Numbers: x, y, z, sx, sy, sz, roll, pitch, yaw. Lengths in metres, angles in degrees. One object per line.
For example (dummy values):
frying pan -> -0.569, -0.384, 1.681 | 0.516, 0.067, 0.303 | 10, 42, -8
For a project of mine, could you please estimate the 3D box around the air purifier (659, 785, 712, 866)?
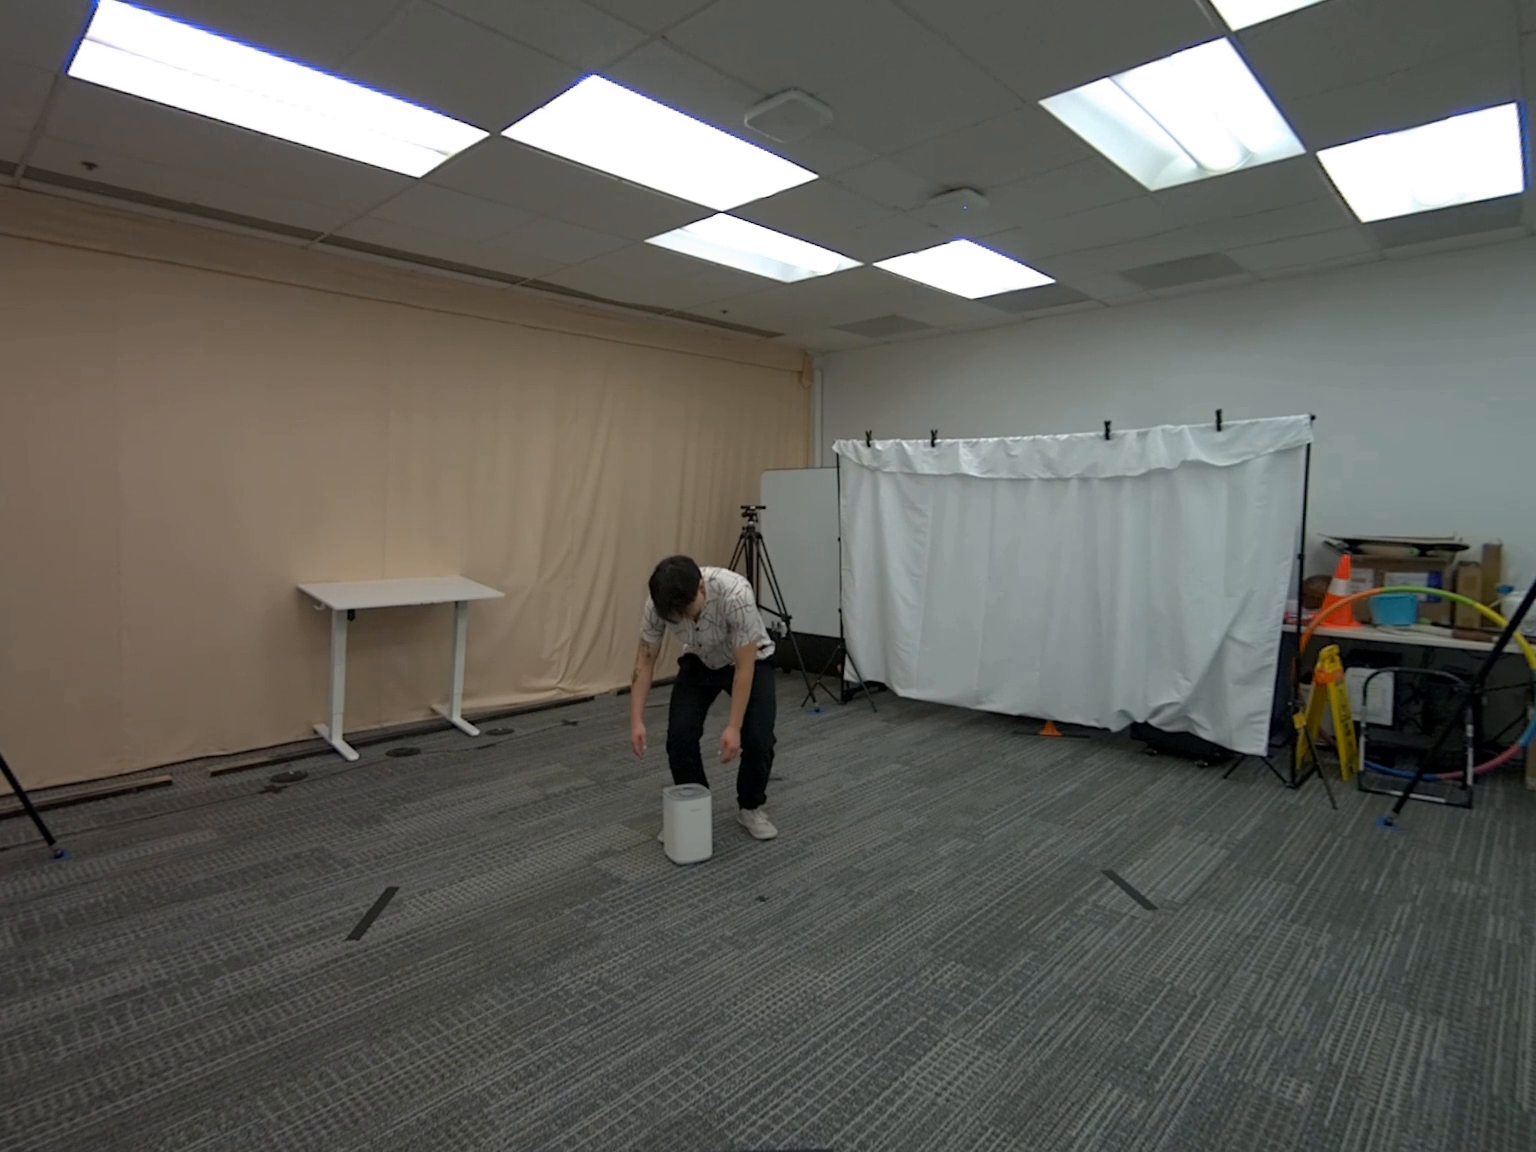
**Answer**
air purifier -> -0.321, 0.985, 3.335 | 0.167, 0.265, 0.176 | -3, 5, -30
